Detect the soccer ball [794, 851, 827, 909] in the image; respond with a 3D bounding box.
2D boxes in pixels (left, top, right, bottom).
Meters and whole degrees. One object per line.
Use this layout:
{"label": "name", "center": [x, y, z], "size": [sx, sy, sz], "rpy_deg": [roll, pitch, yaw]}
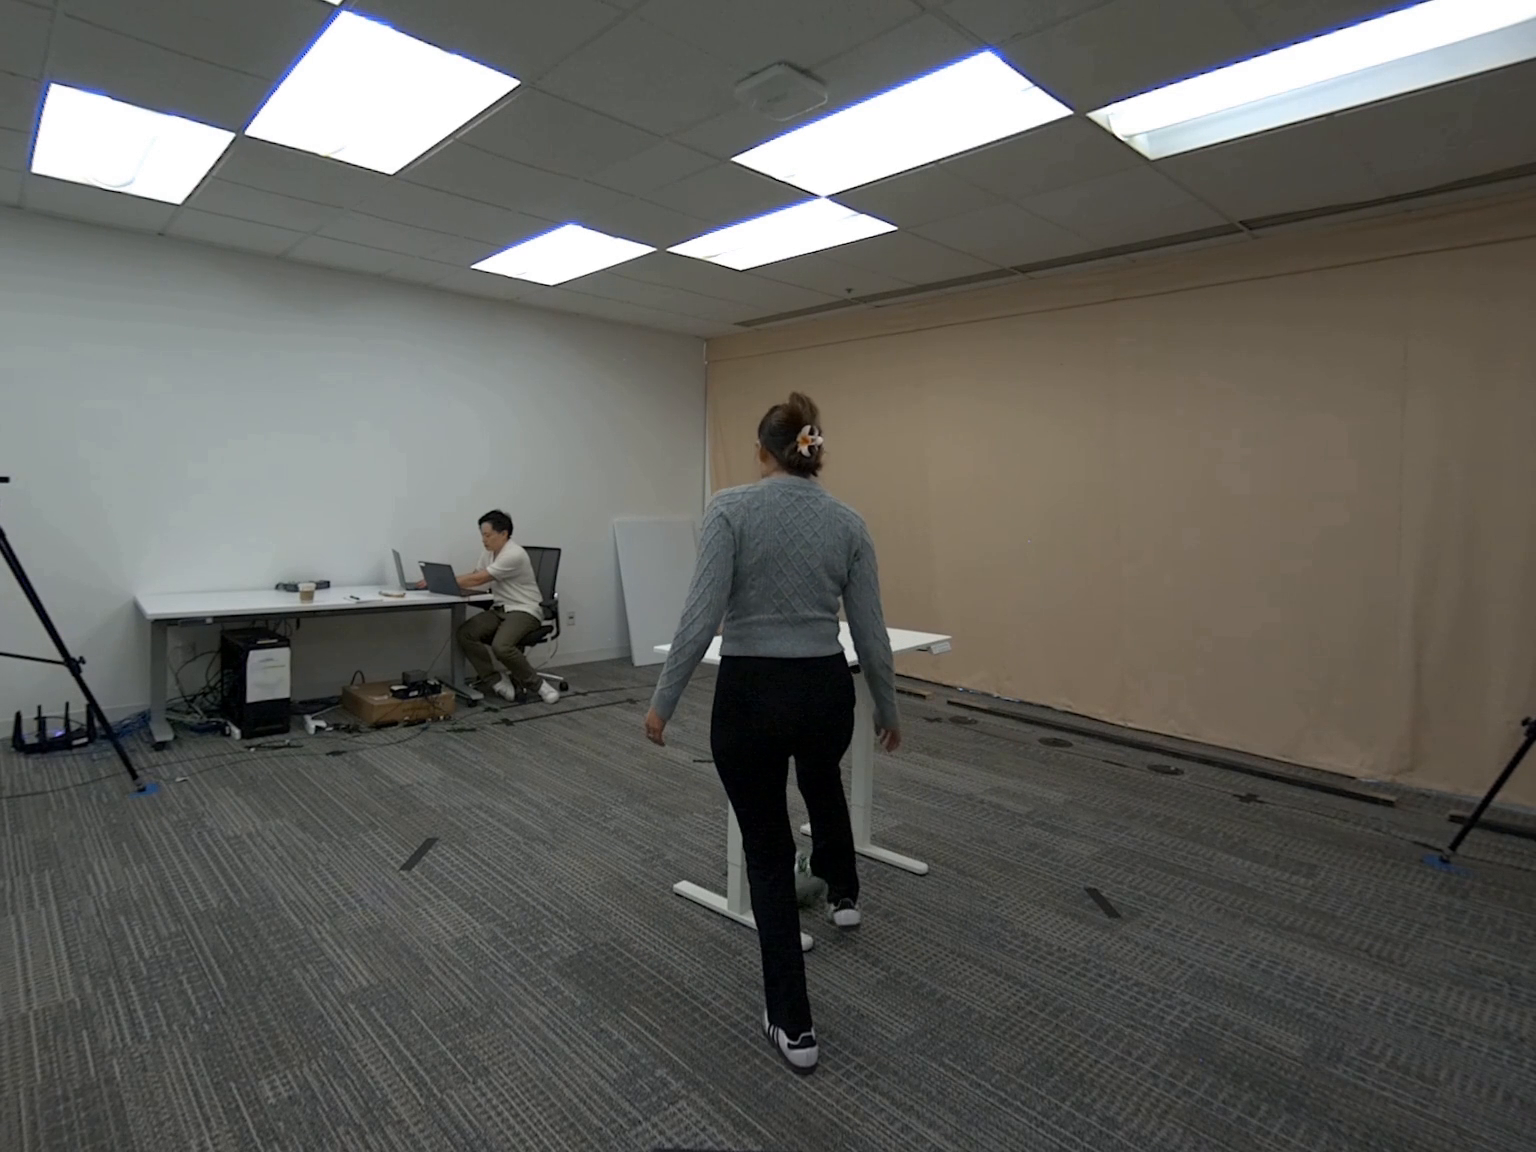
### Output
{"label": "soccer ball", "center": [0.106, 1.037, 2.897], "size": [0.187, 0.187, 0.188], "rpy_deg": [1, 4, -1]}
